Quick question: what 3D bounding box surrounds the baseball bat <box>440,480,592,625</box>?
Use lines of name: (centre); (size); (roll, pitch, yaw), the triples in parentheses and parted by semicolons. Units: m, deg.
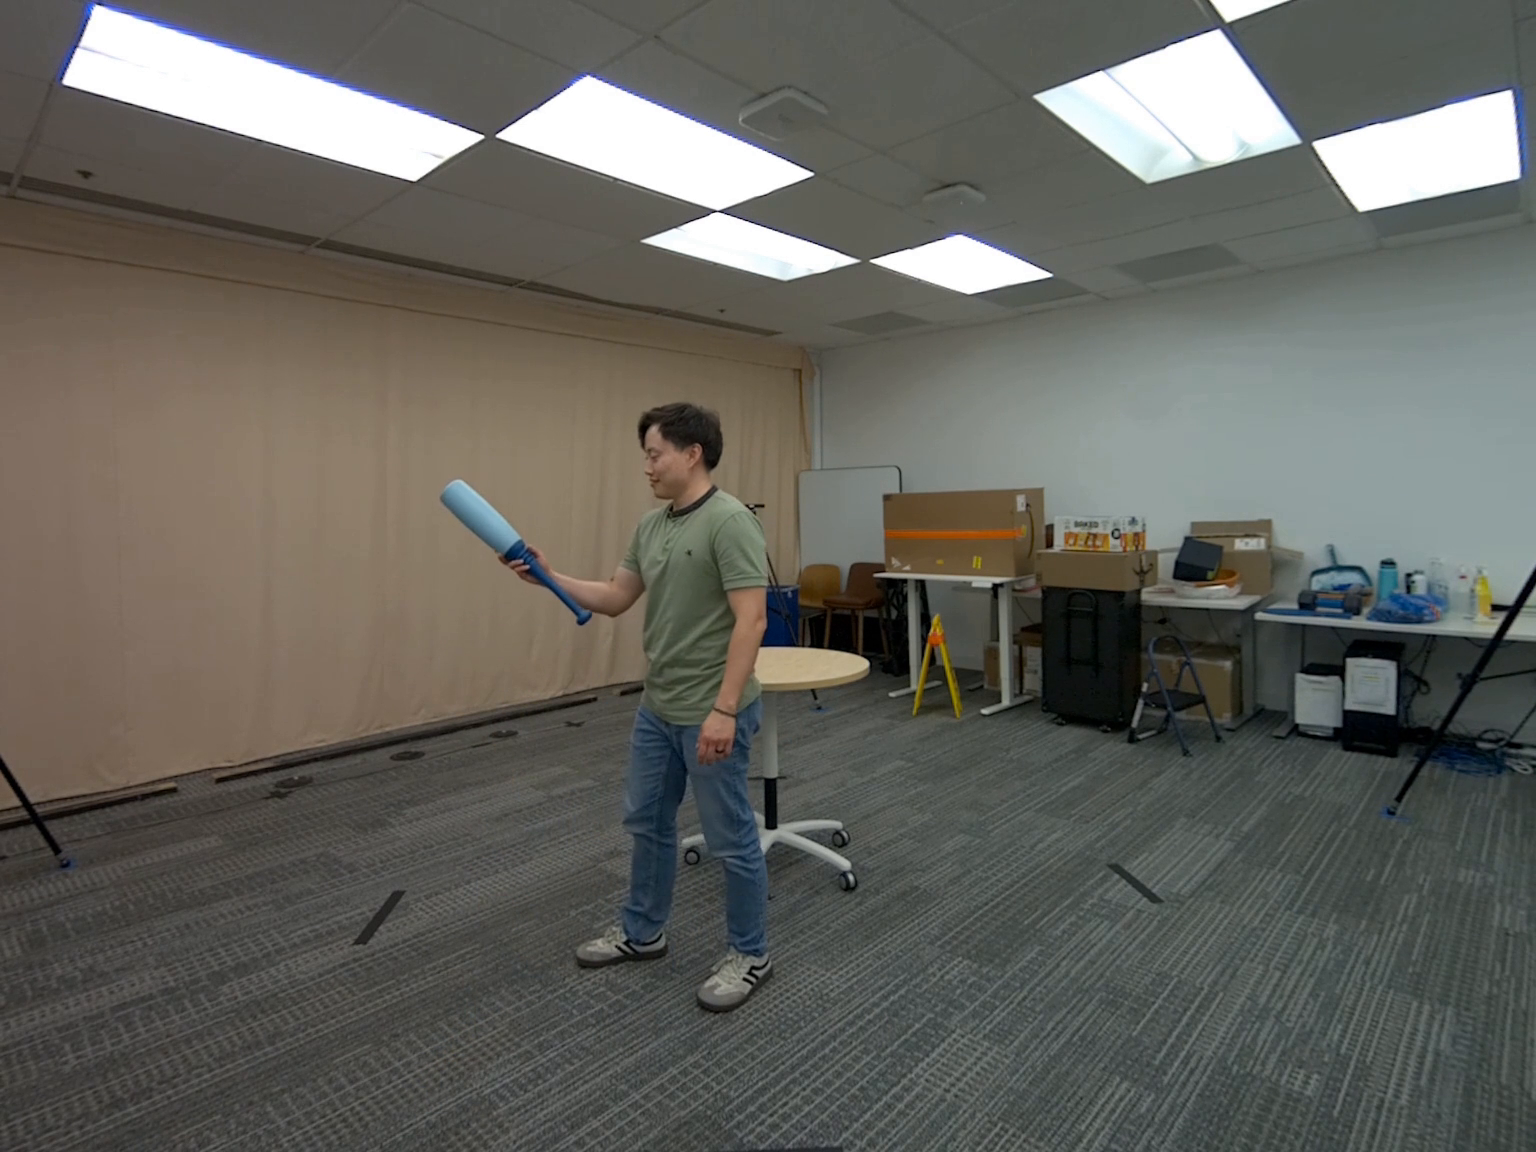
baseball bat: (-0.702, -0.054, 2.355); (0.544, 0.089, 0.089); (43, 5, 1)
